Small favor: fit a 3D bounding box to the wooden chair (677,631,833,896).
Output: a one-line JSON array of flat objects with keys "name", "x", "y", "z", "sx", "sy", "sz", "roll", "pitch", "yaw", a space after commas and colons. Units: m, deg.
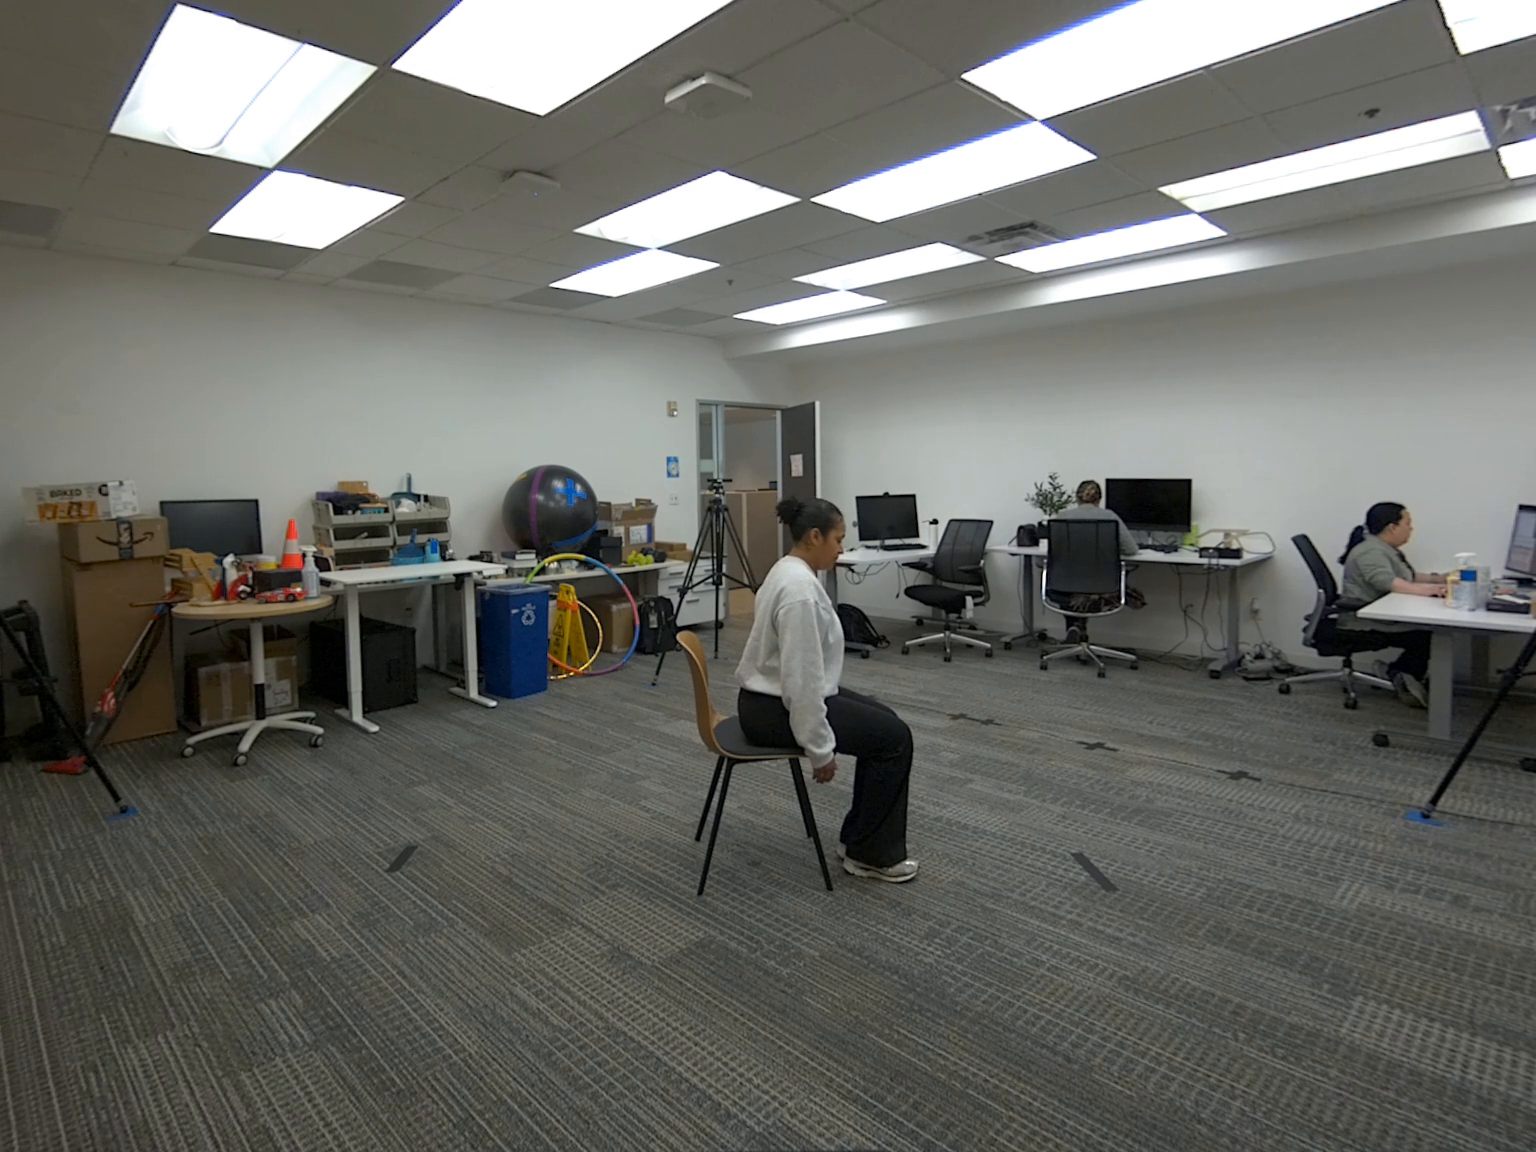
[{"name": "wooden chair", "x": -0.028, "y": 0.624, "z": 3.073, "sx": 0.521, "sy": 0.874, "sz": 0.482, "roll": -4, "pitch": 4, "yaw": -5}]
